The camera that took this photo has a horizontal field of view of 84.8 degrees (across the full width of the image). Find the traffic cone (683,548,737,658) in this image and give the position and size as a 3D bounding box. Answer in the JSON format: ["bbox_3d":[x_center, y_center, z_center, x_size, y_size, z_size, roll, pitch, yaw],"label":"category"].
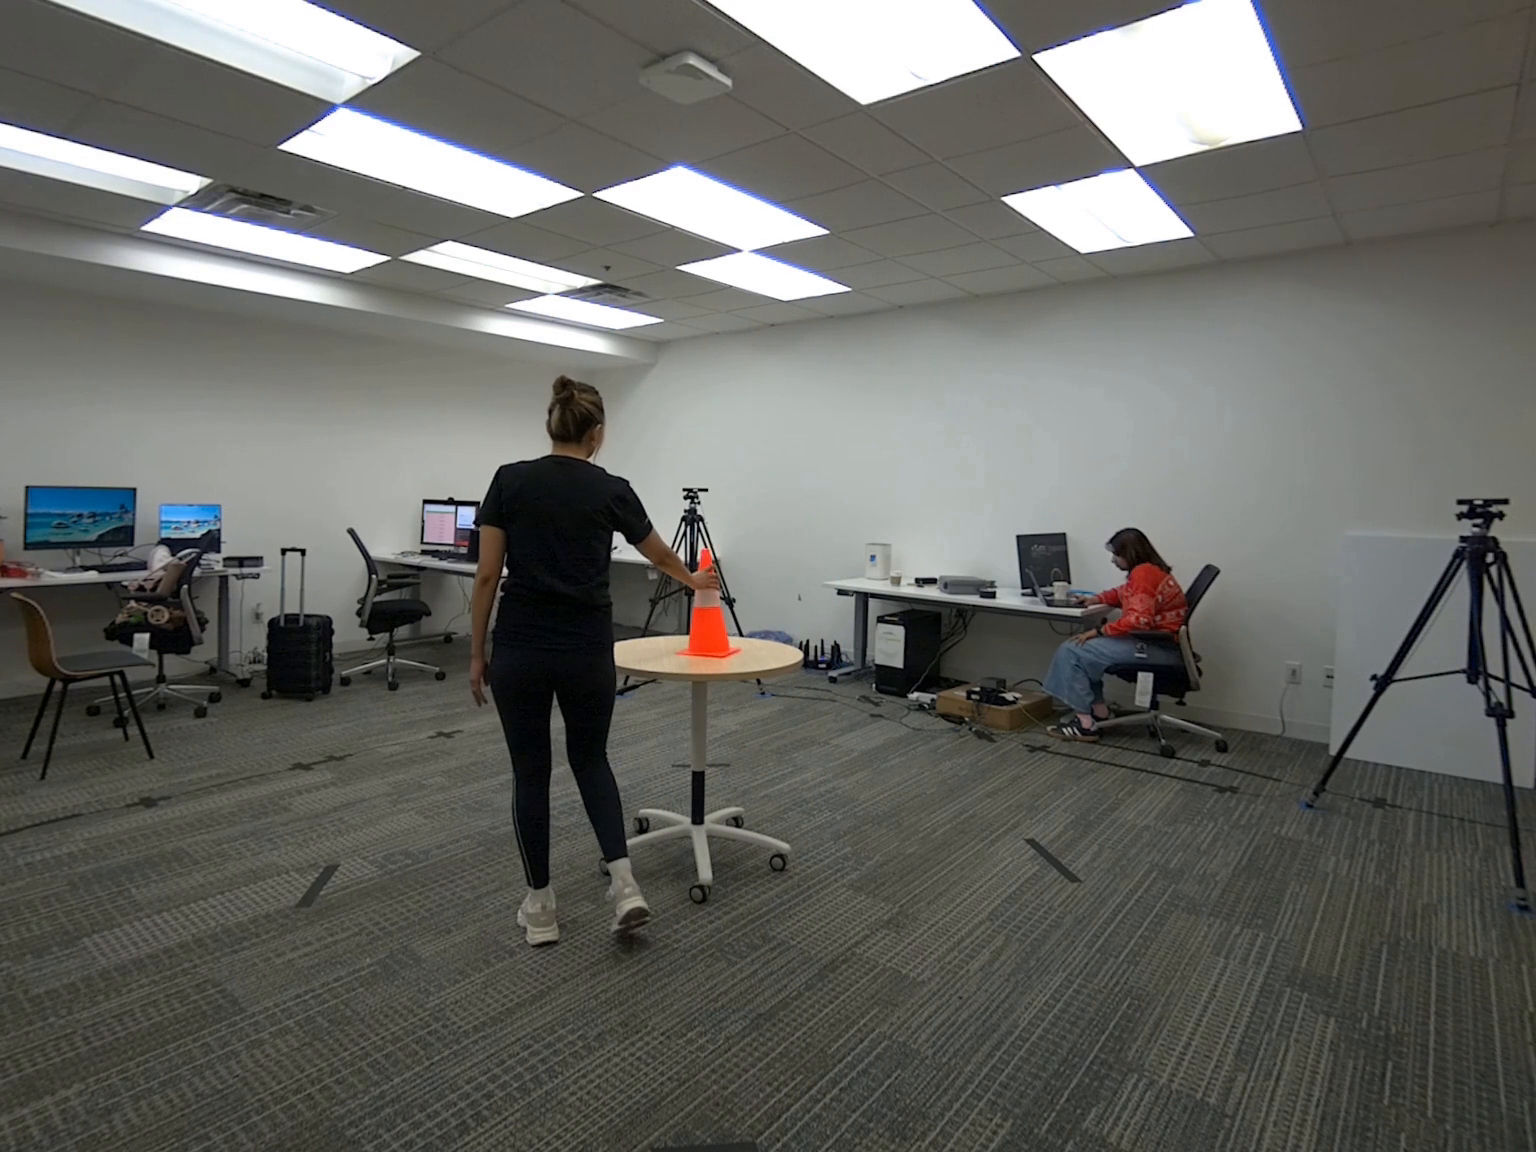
[{"bbox_3d":[-0.240,0.088,3.167,0.208,0.383,0.201,-1,2,20],"label":"traffic cone"}]
